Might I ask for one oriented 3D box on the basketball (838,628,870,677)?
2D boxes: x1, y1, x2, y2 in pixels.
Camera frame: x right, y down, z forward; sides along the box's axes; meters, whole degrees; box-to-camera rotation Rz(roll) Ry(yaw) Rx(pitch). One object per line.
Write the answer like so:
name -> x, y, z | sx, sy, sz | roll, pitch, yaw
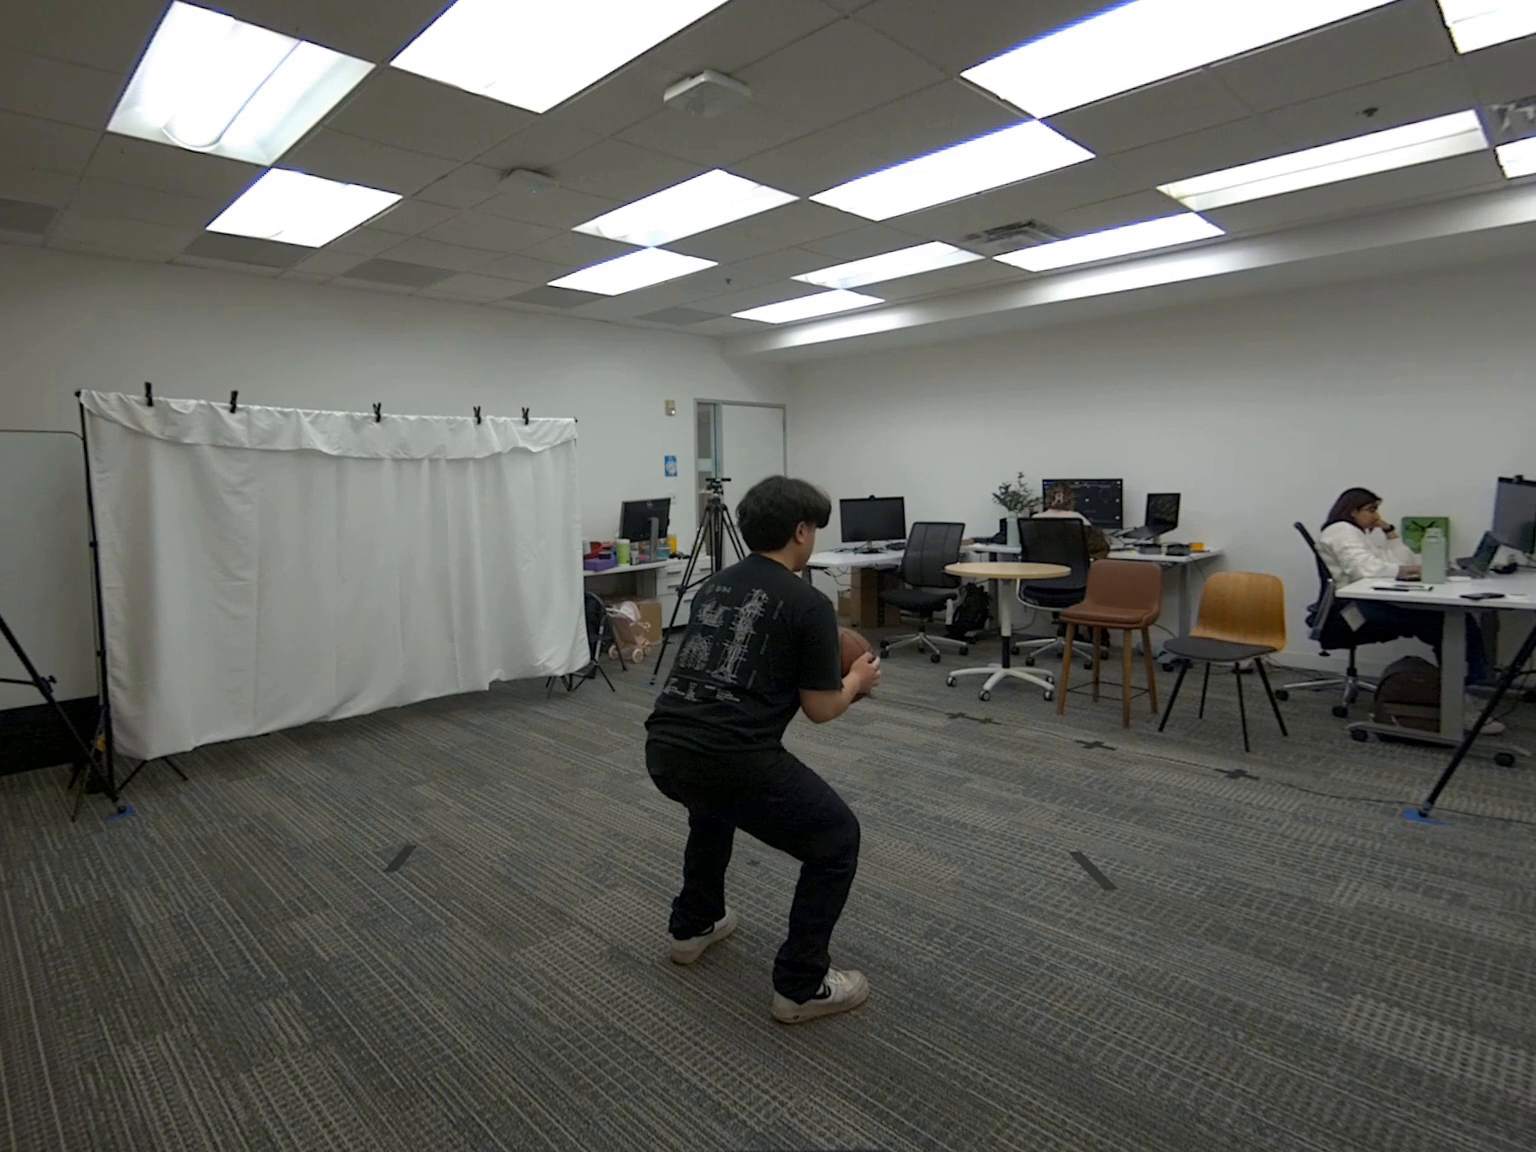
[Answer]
basketball -> 0.230, 0.275, 2.608 | 0.236, 0.235, 0.237 | -1, 5, -2
